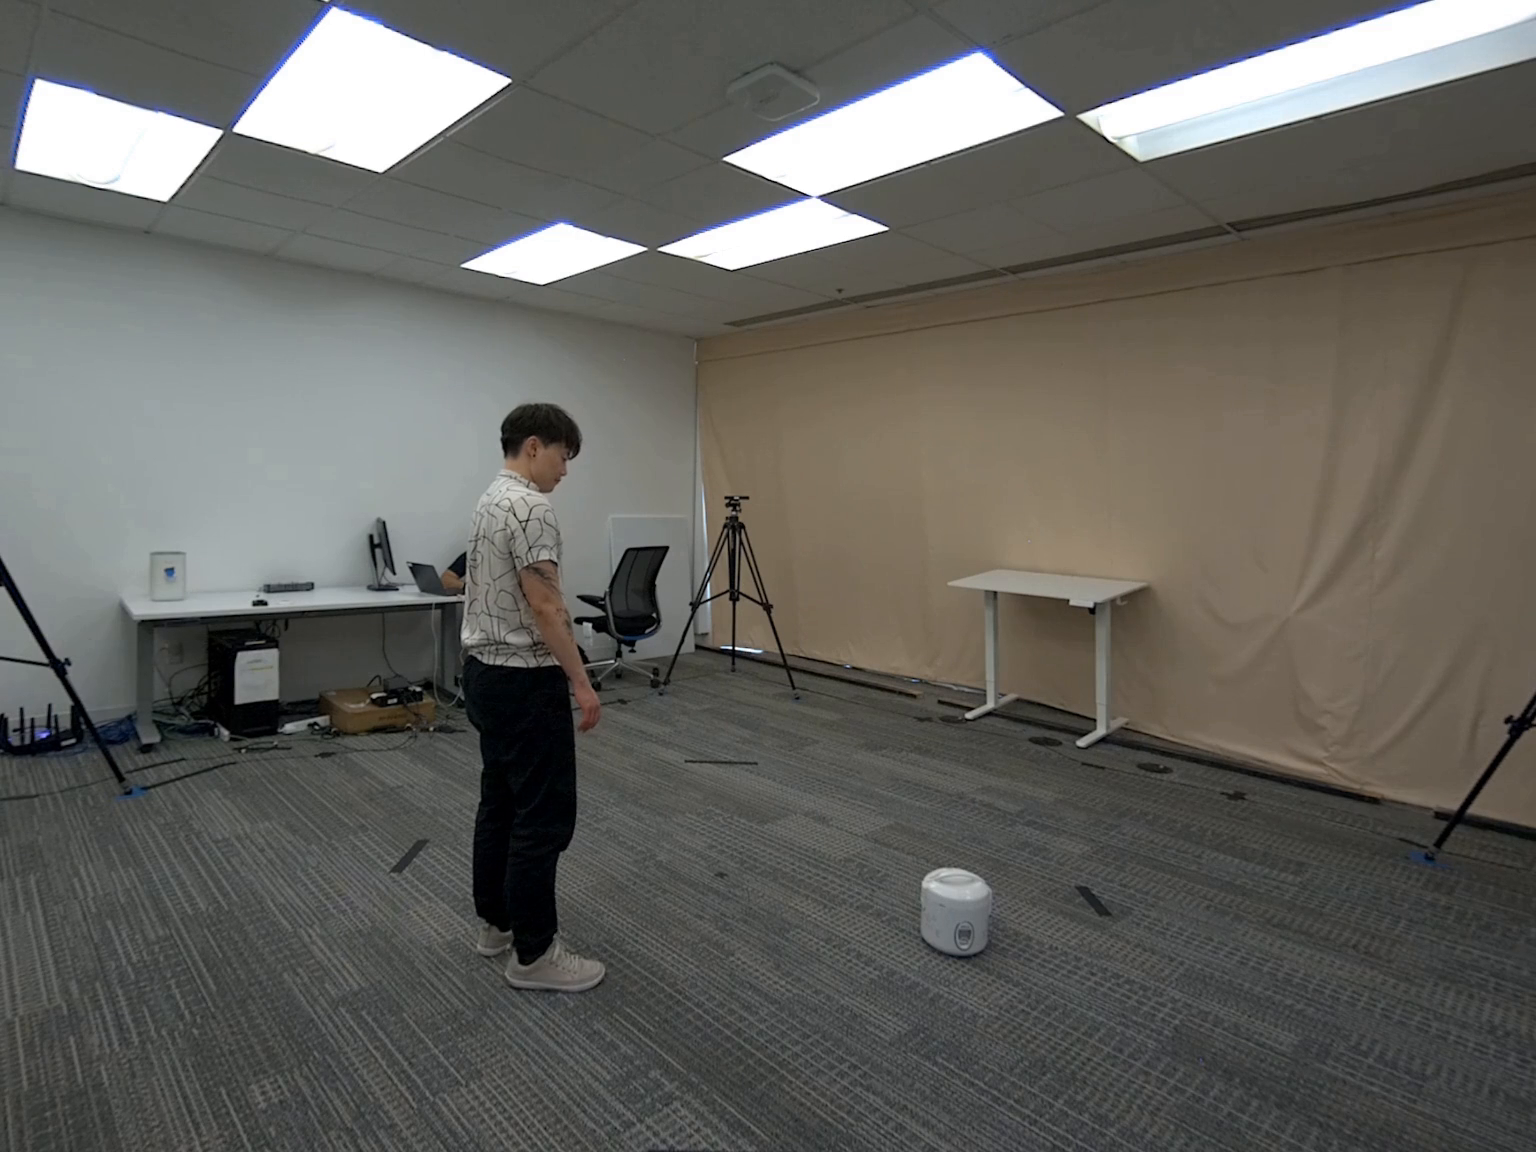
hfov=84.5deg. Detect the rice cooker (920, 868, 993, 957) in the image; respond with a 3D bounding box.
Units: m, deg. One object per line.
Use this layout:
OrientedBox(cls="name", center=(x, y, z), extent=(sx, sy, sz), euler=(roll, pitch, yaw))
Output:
OrientedBox(cls="rice cooker", center=(0.587, 1.046, 2.661), extent=(0.220, 0.232, 0.218), euler=(1, 4, -2))
